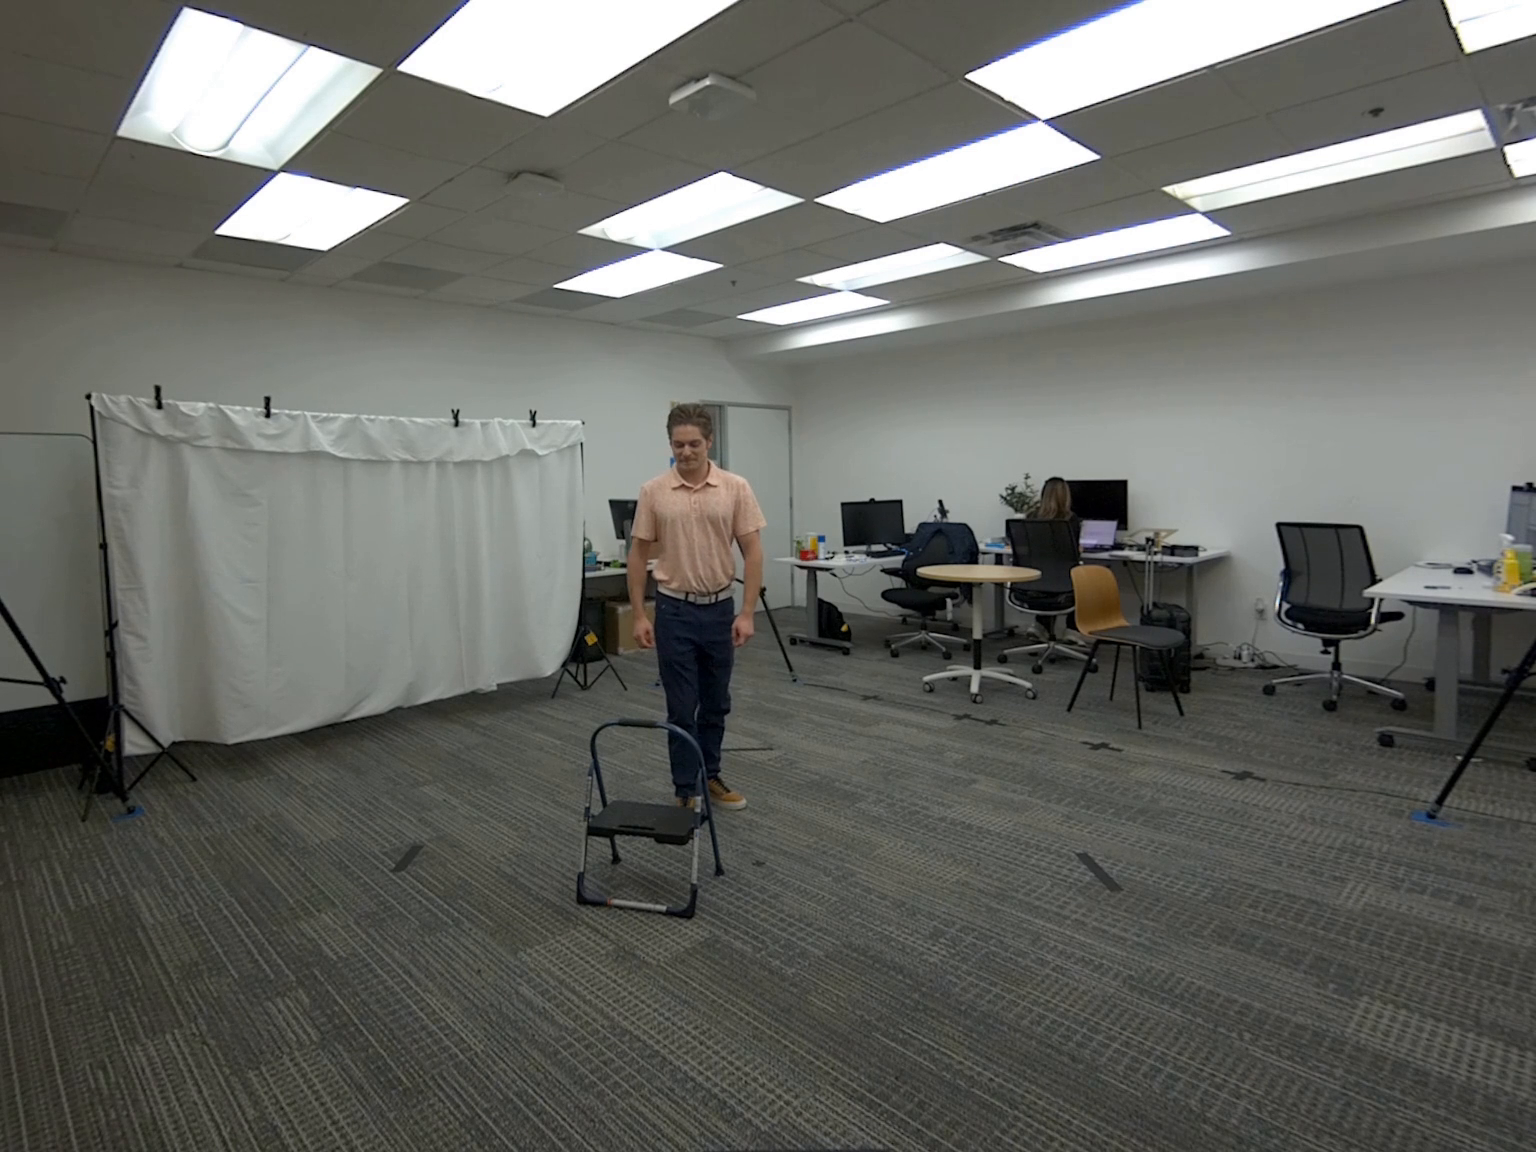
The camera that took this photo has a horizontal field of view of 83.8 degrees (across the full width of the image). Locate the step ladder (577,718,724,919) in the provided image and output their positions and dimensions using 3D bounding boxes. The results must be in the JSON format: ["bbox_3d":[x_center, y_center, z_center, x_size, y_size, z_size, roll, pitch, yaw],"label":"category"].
[{"bbox_3d":[-0.410,0.774,2.920,0.437,0.604,0.345,0,5,15],"label":"step ladder"}]
